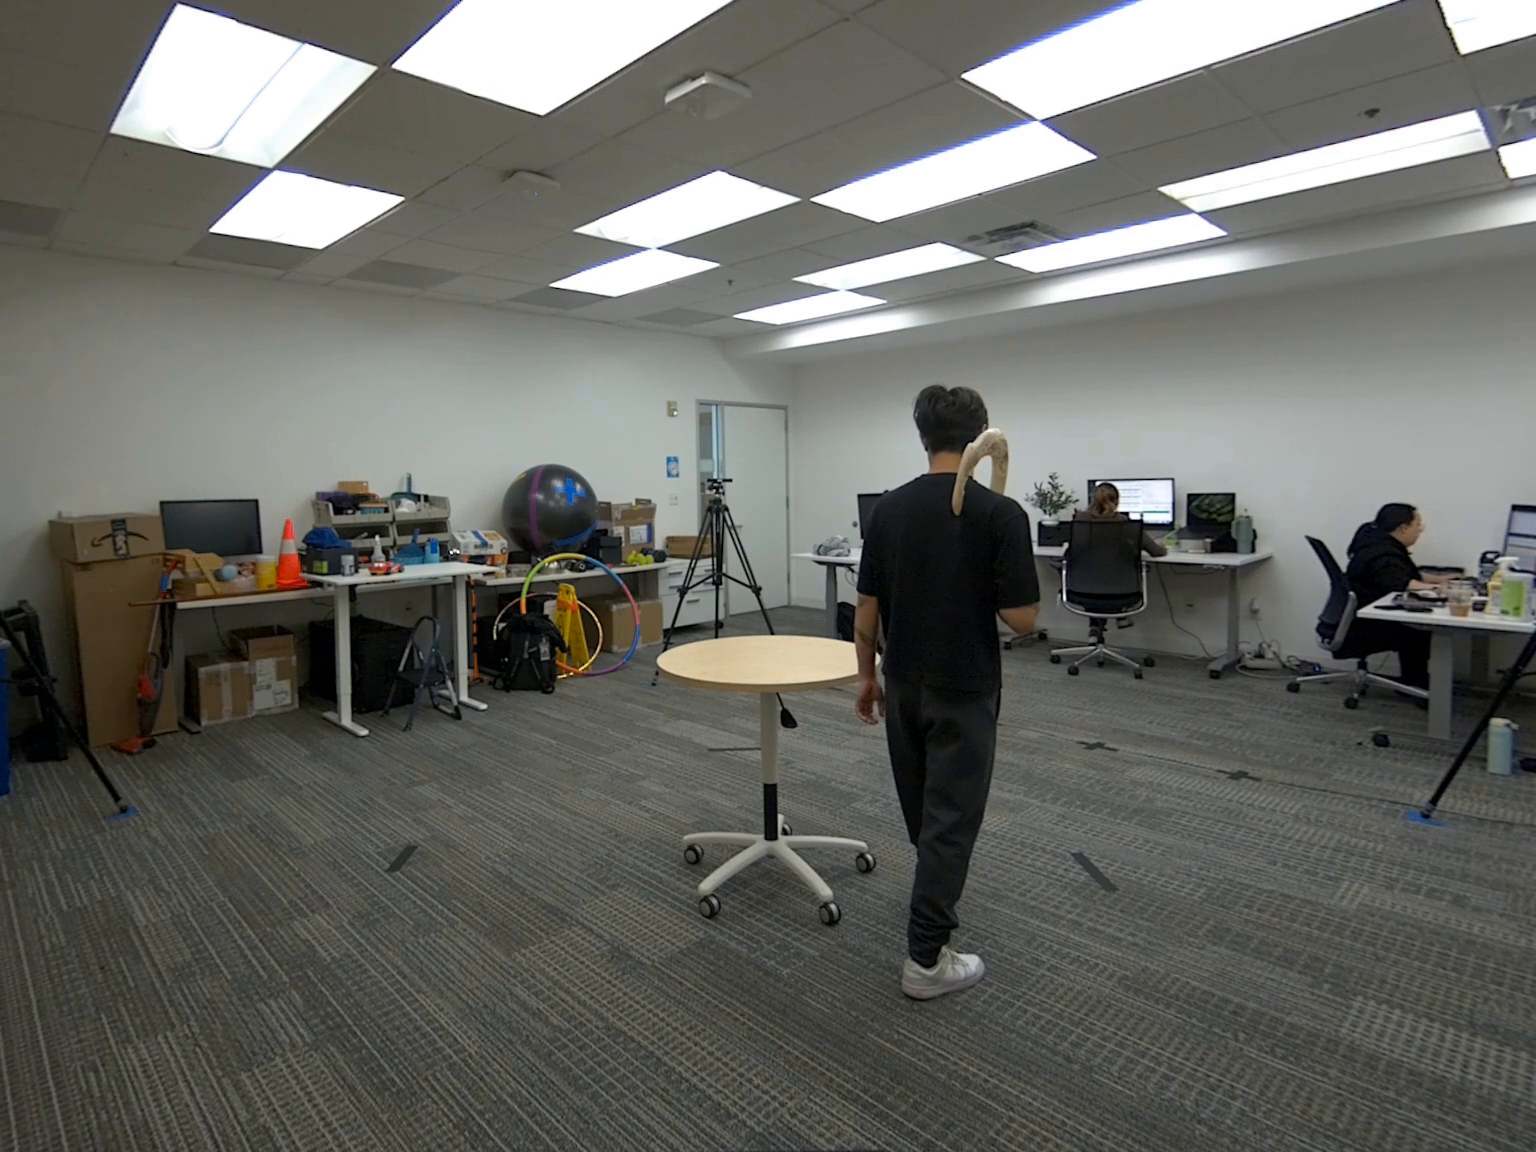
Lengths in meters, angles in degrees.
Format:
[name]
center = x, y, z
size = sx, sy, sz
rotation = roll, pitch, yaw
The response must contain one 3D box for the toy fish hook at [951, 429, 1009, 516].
[toy fish hook]
center = 0.577, -0.164, 2.343
size = 0.223, 0.491, 0.050
rotation = -34, 41, -25
